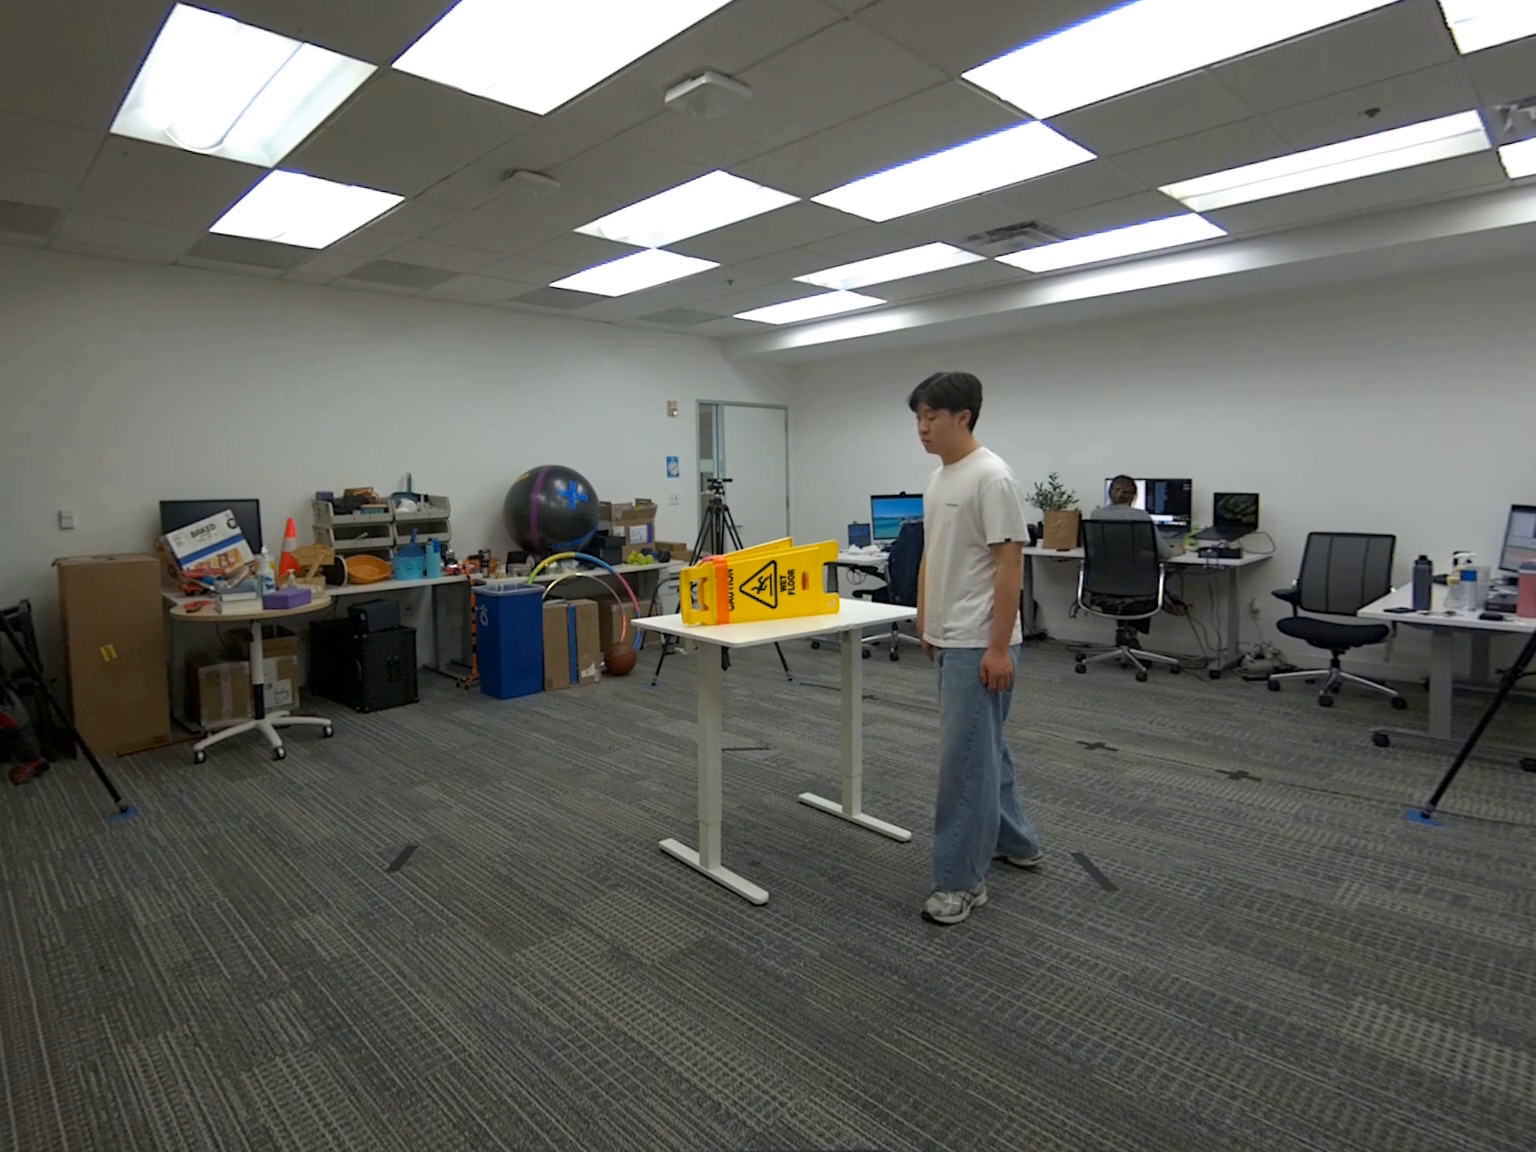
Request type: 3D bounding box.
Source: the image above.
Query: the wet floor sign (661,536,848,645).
[{"bbox_3d":[-0.040,0.032,3.137,0.630,0.280,0.299,-9,10,-40],"label":"wet floor sign"}]
